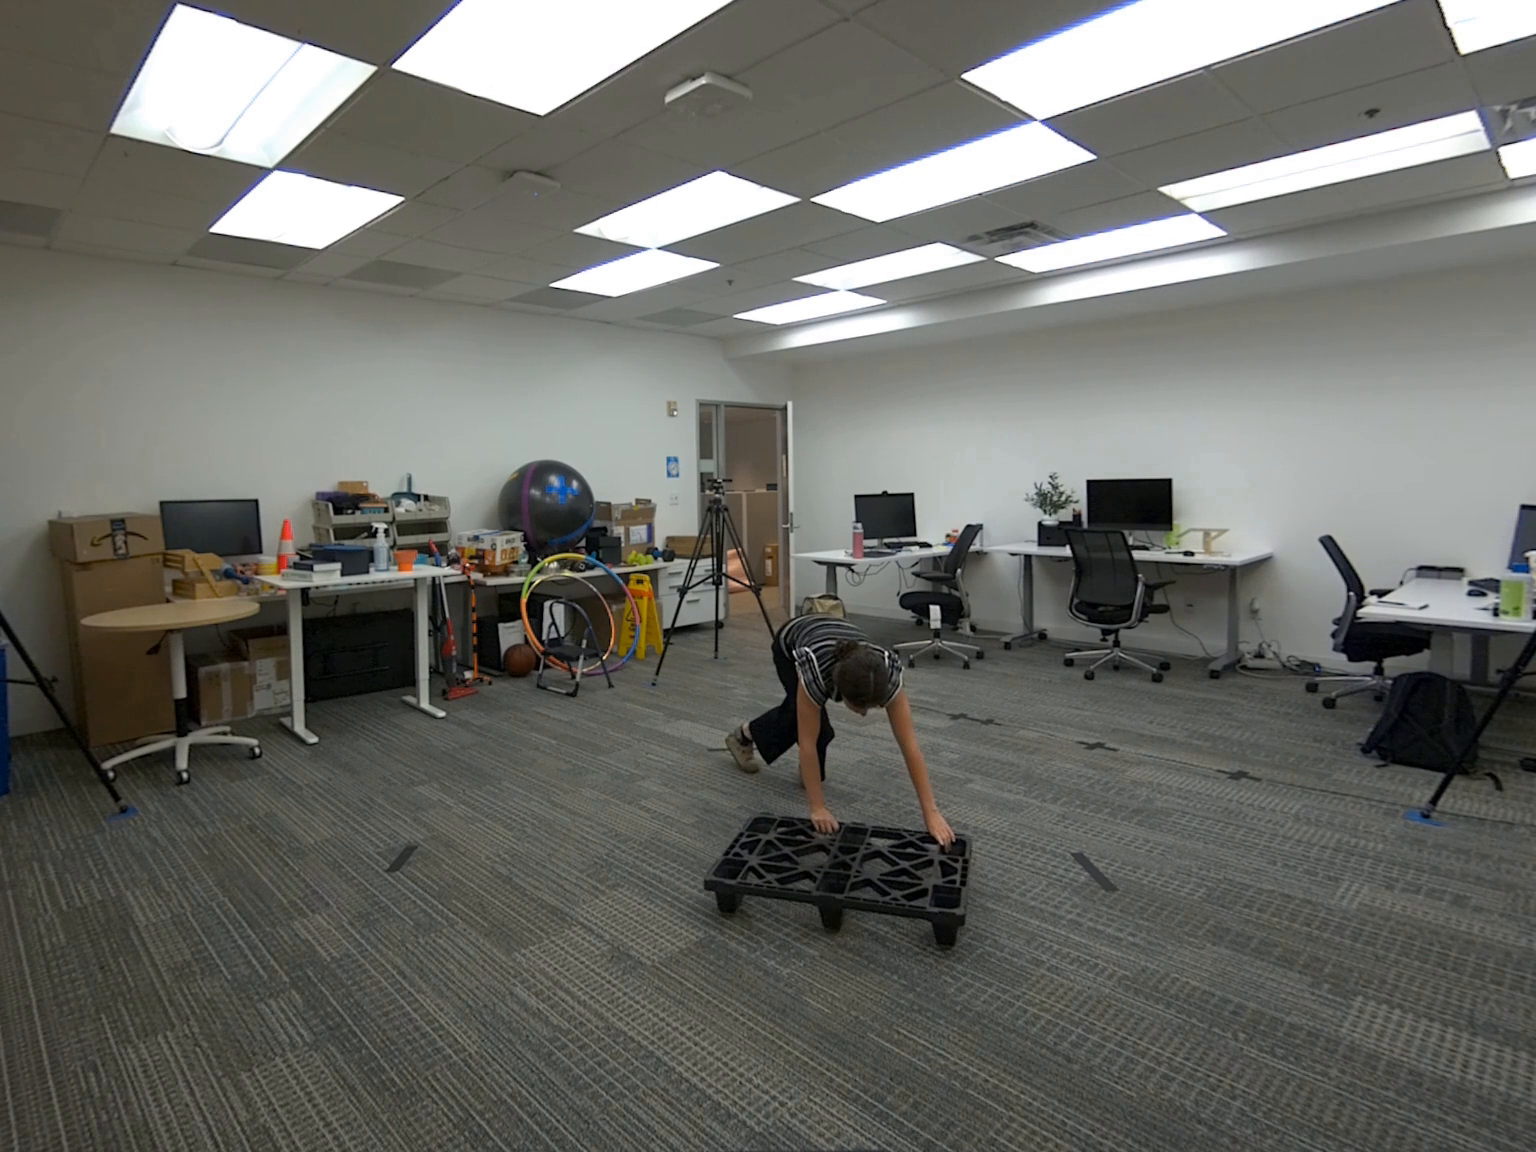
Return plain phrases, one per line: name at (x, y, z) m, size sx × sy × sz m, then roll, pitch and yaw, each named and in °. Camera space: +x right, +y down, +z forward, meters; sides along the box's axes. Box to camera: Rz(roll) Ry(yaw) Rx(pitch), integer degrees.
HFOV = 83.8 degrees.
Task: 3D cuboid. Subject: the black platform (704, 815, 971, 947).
black platform at (0.258, 1.000, 2.847) m, size 0.819 × 0.143 × 0.598 m, roll 1°, pitch 6°, yaw 17°
